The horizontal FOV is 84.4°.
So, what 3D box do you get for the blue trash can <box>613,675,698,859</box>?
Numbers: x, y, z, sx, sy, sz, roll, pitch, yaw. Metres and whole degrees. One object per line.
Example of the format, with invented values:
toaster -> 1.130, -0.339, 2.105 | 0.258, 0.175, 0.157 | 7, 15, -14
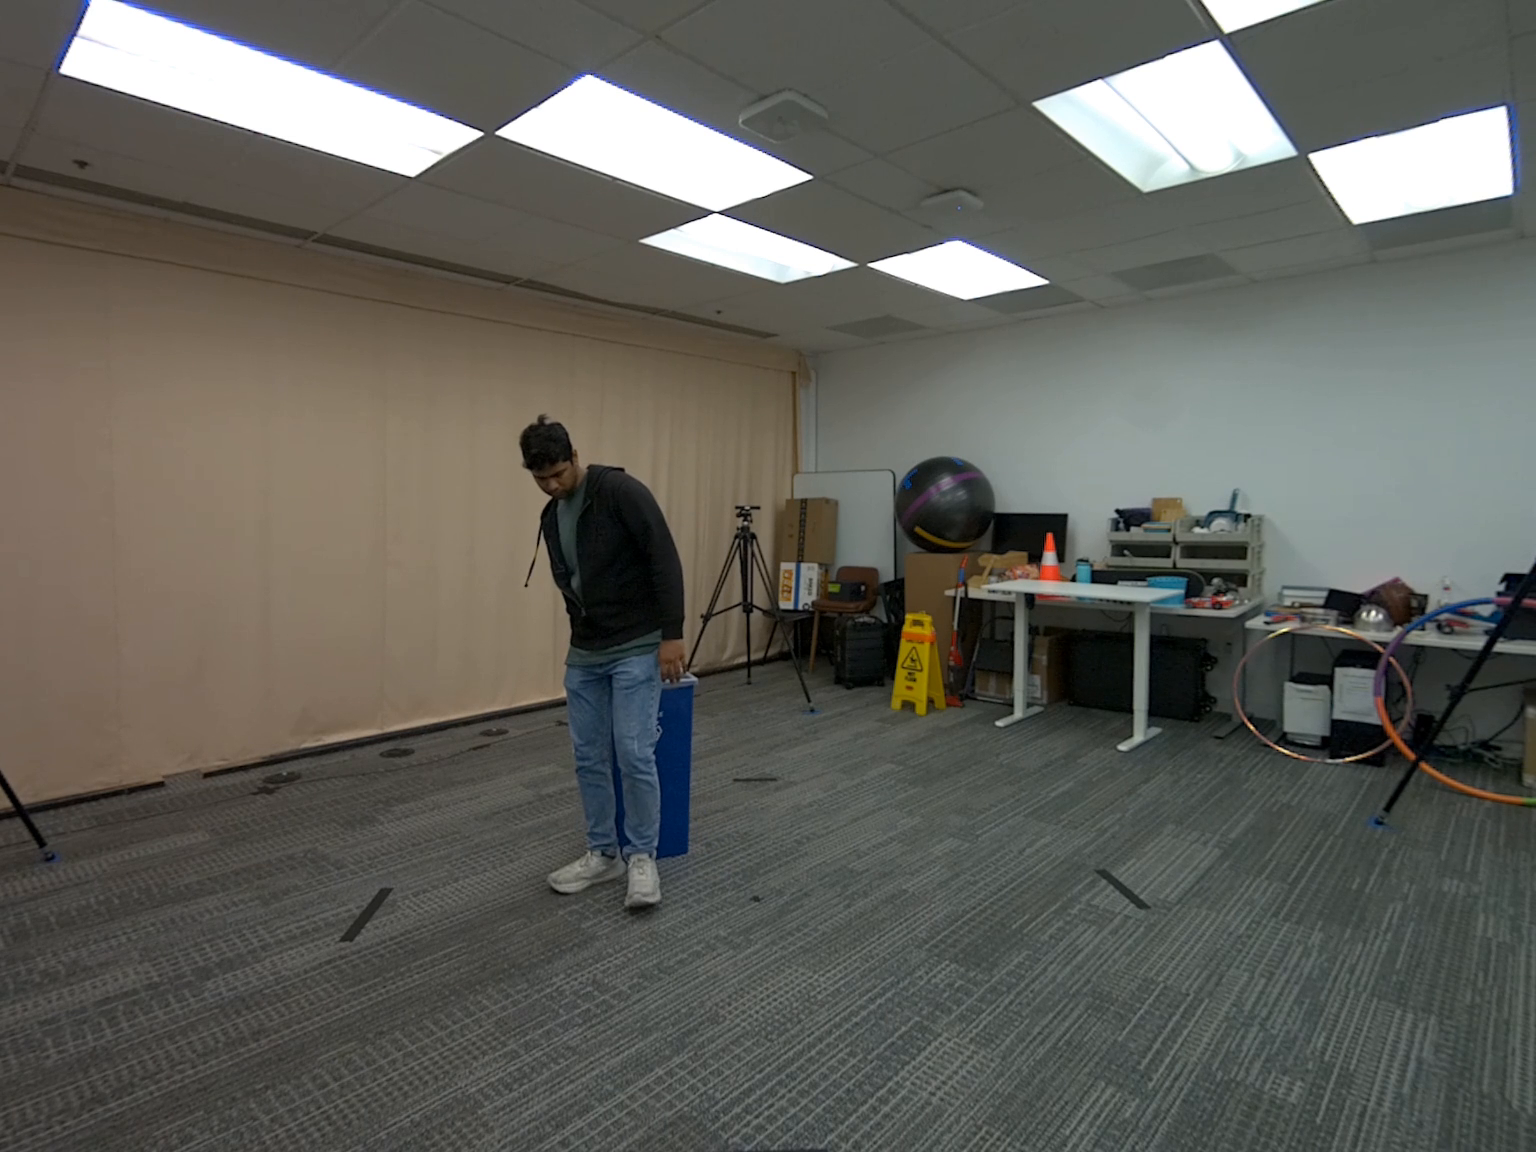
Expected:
blue trash can -> -0.506, 0.752, 3.440 | 0.369, 0.712, 0.383 | -1, 2, -24
